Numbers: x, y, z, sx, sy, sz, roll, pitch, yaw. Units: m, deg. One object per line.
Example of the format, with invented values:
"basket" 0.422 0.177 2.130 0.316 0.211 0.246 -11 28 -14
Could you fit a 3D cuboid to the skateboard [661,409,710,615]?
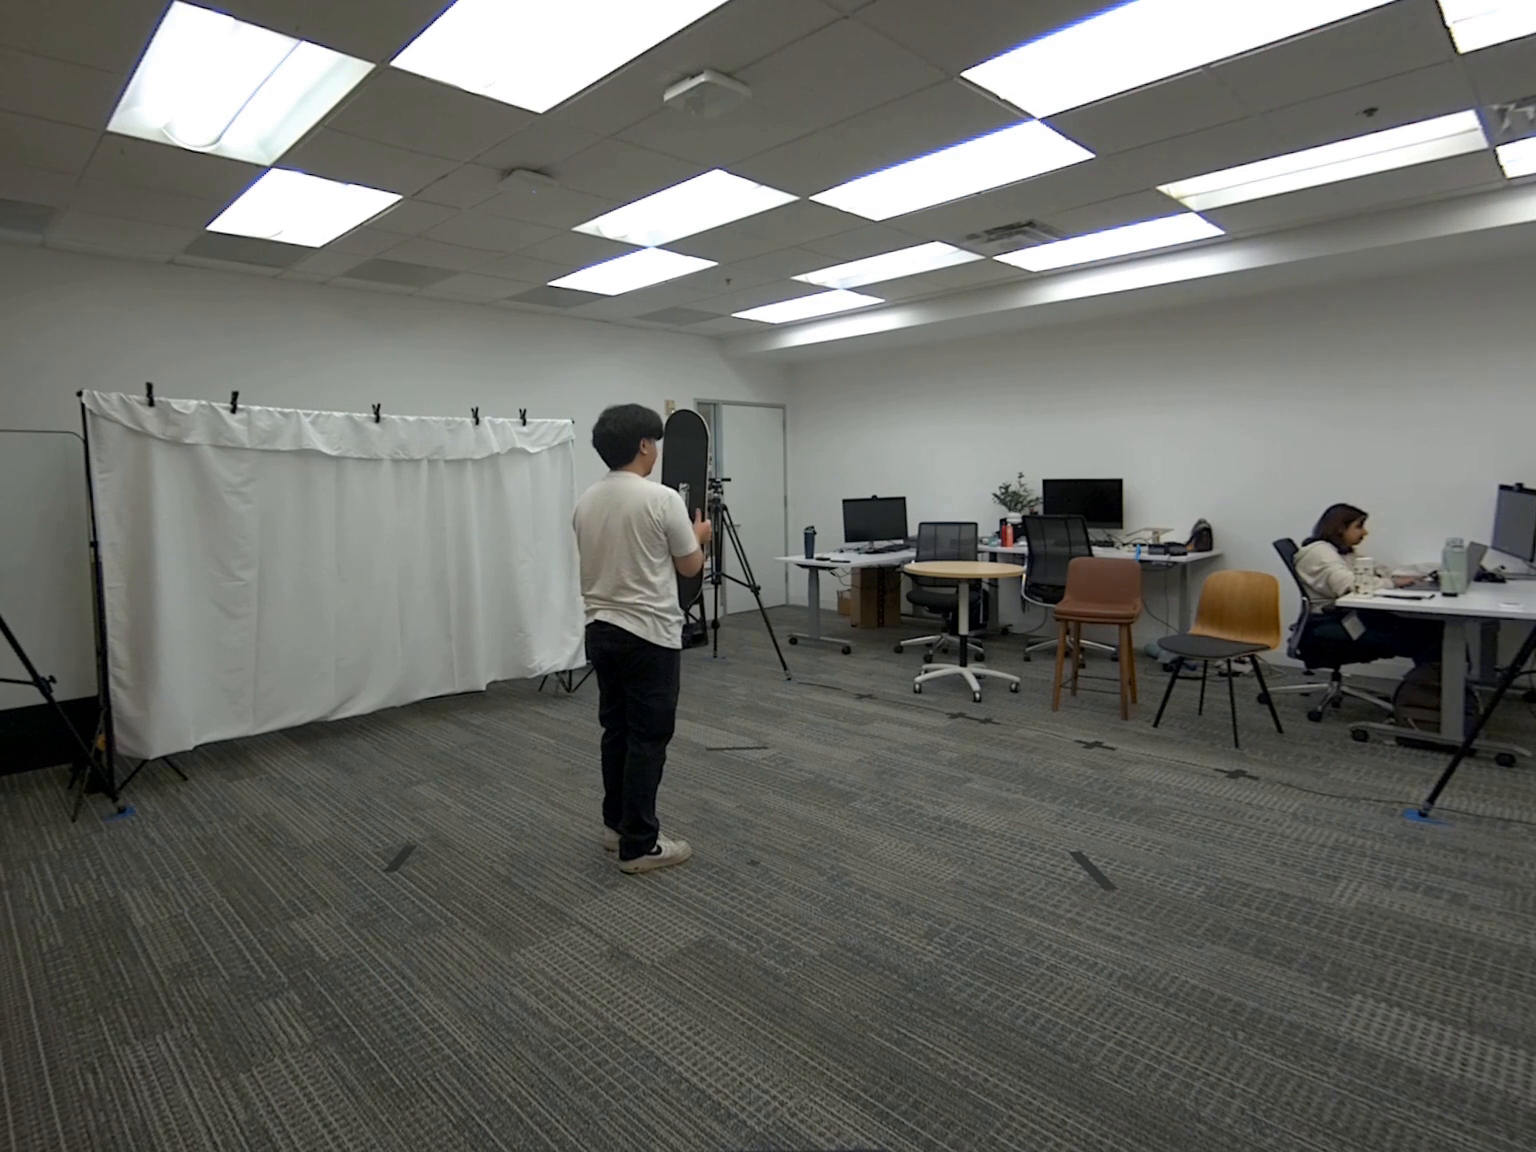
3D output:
"skateboard" -0.336 -0.279 3.467 0.196 0.780 0.110 5 8 11
